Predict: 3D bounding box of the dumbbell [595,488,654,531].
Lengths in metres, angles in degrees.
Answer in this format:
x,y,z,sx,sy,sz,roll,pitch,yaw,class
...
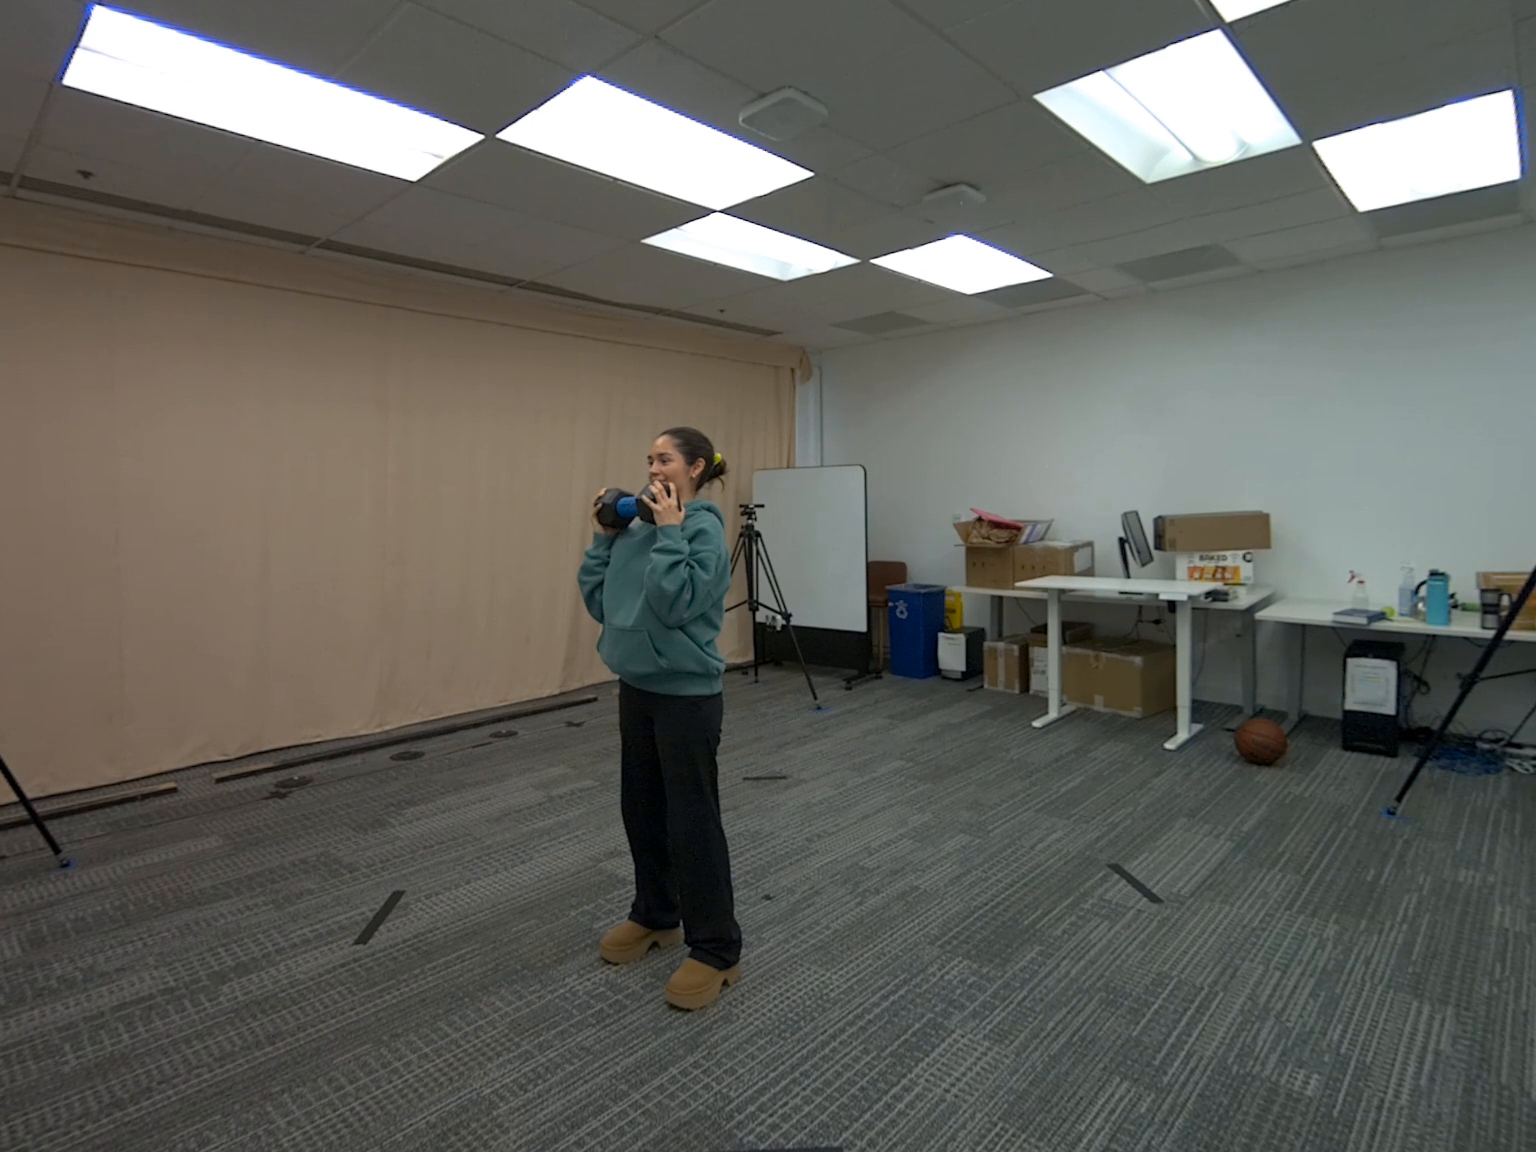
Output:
x,y,z,sx,sy,sz,roll,pitch,yaw,class
-0.368,-0.199,2.426,0.303,0.121,0.106,1,21,46,dumbbell
